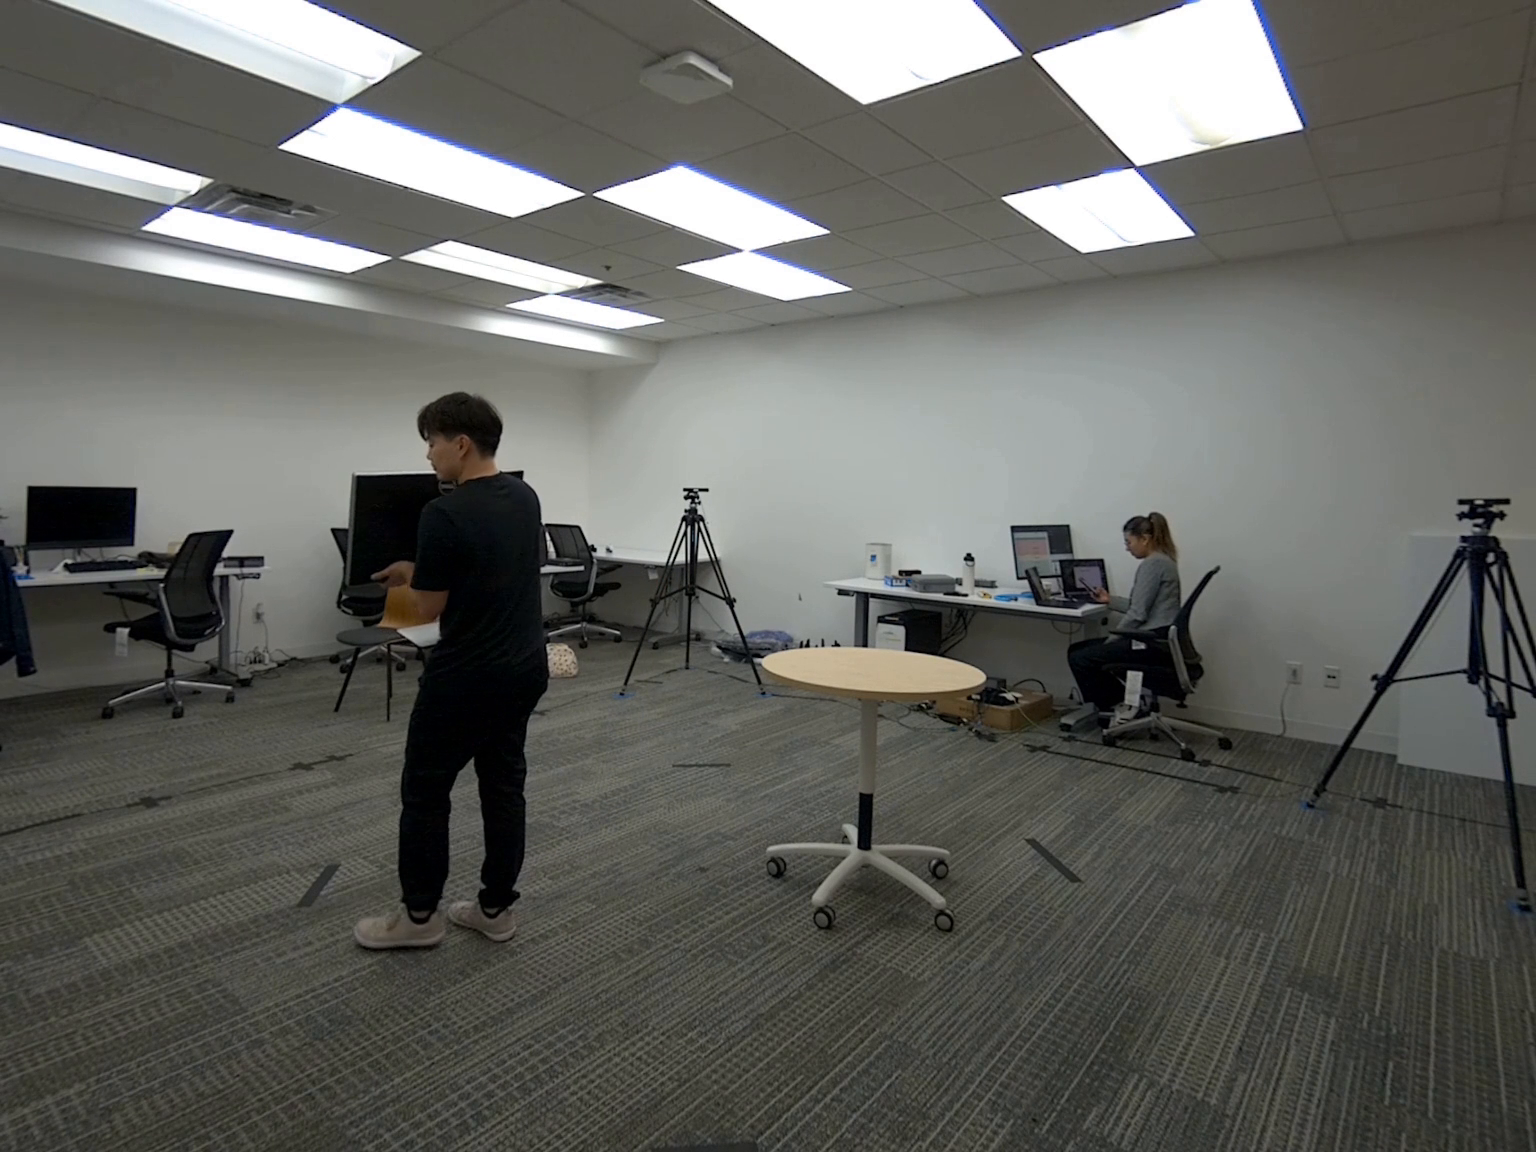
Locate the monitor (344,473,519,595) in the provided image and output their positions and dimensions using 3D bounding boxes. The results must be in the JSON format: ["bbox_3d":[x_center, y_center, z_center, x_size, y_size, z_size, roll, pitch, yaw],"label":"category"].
[{"bbox_3d":[-1.053,-0.070,2.726,0.194,0.517,0.524,16,16,42],"label":"monitor"}]
